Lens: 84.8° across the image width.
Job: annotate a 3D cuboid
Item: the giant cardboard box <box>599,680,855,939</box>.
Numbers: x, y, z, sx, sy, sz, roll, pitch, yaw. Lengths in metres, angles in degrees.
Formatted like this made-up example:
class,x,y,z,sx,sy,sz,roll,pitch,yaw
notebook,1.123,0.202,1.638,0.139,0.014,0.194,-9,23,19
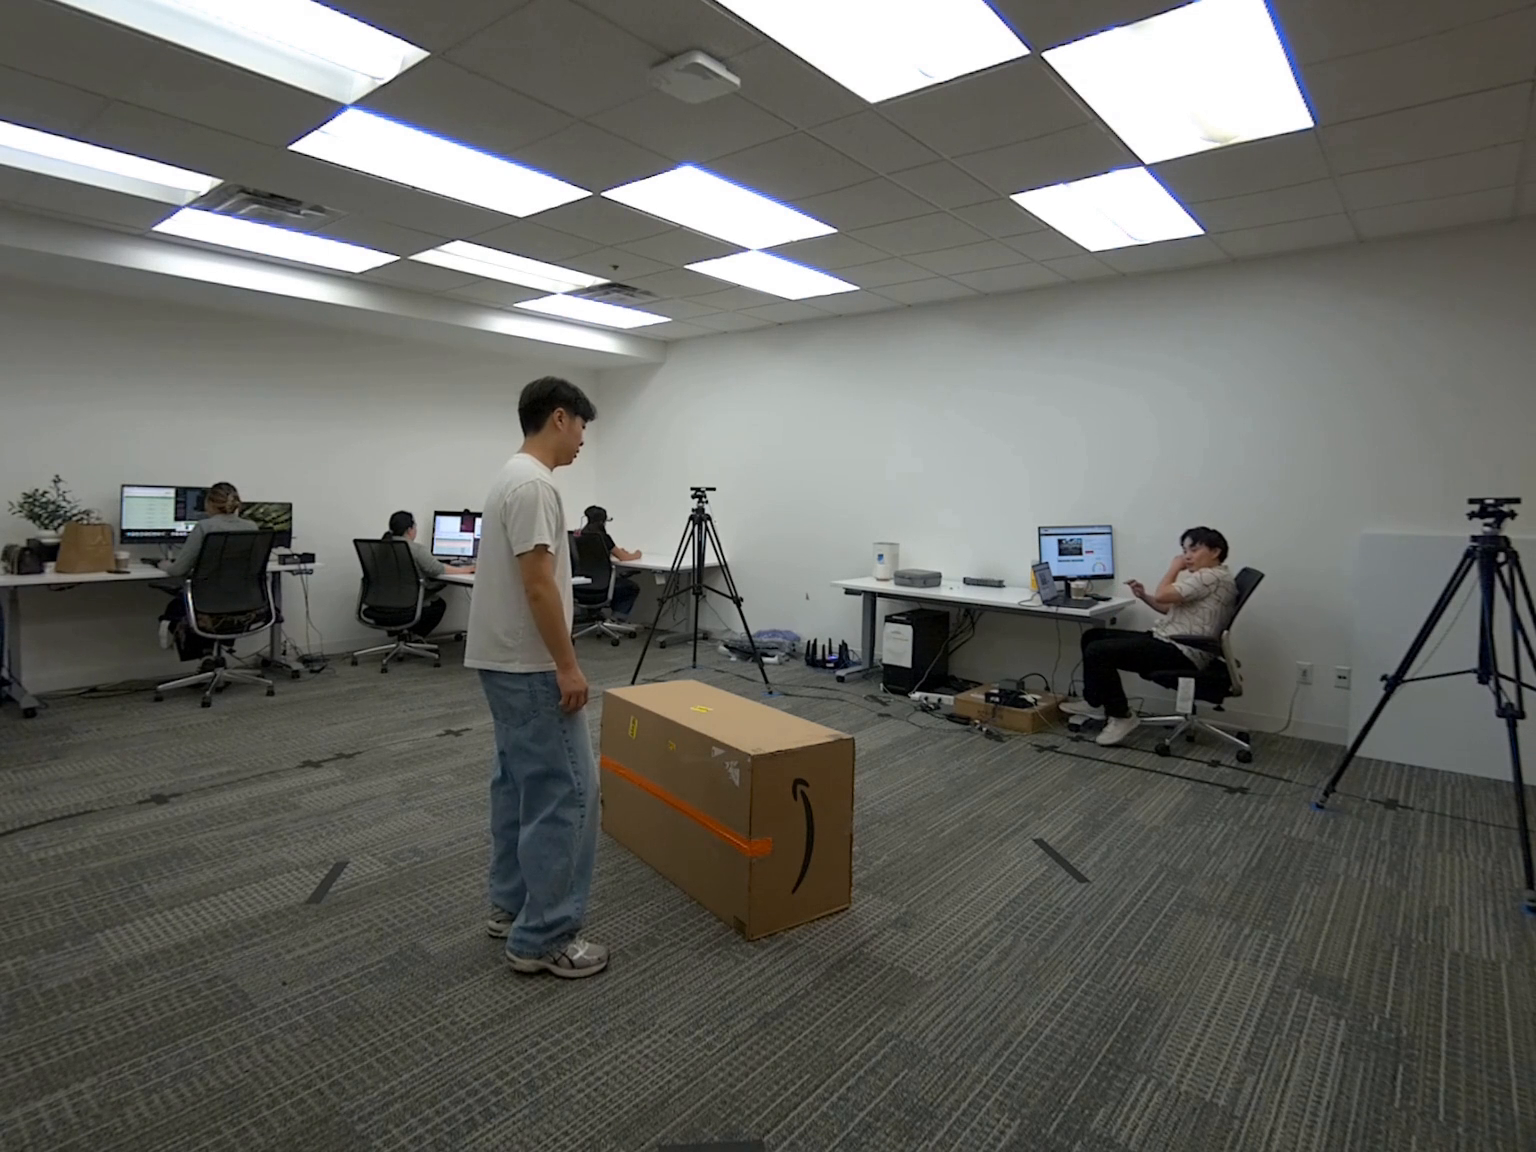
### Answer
class,x,y,z,sx,sy,sz,roll,pitch,yaw
giant cardboard box,-0.204,0.776,3.124,0.414,0.576,1.060,-1,5,-36
